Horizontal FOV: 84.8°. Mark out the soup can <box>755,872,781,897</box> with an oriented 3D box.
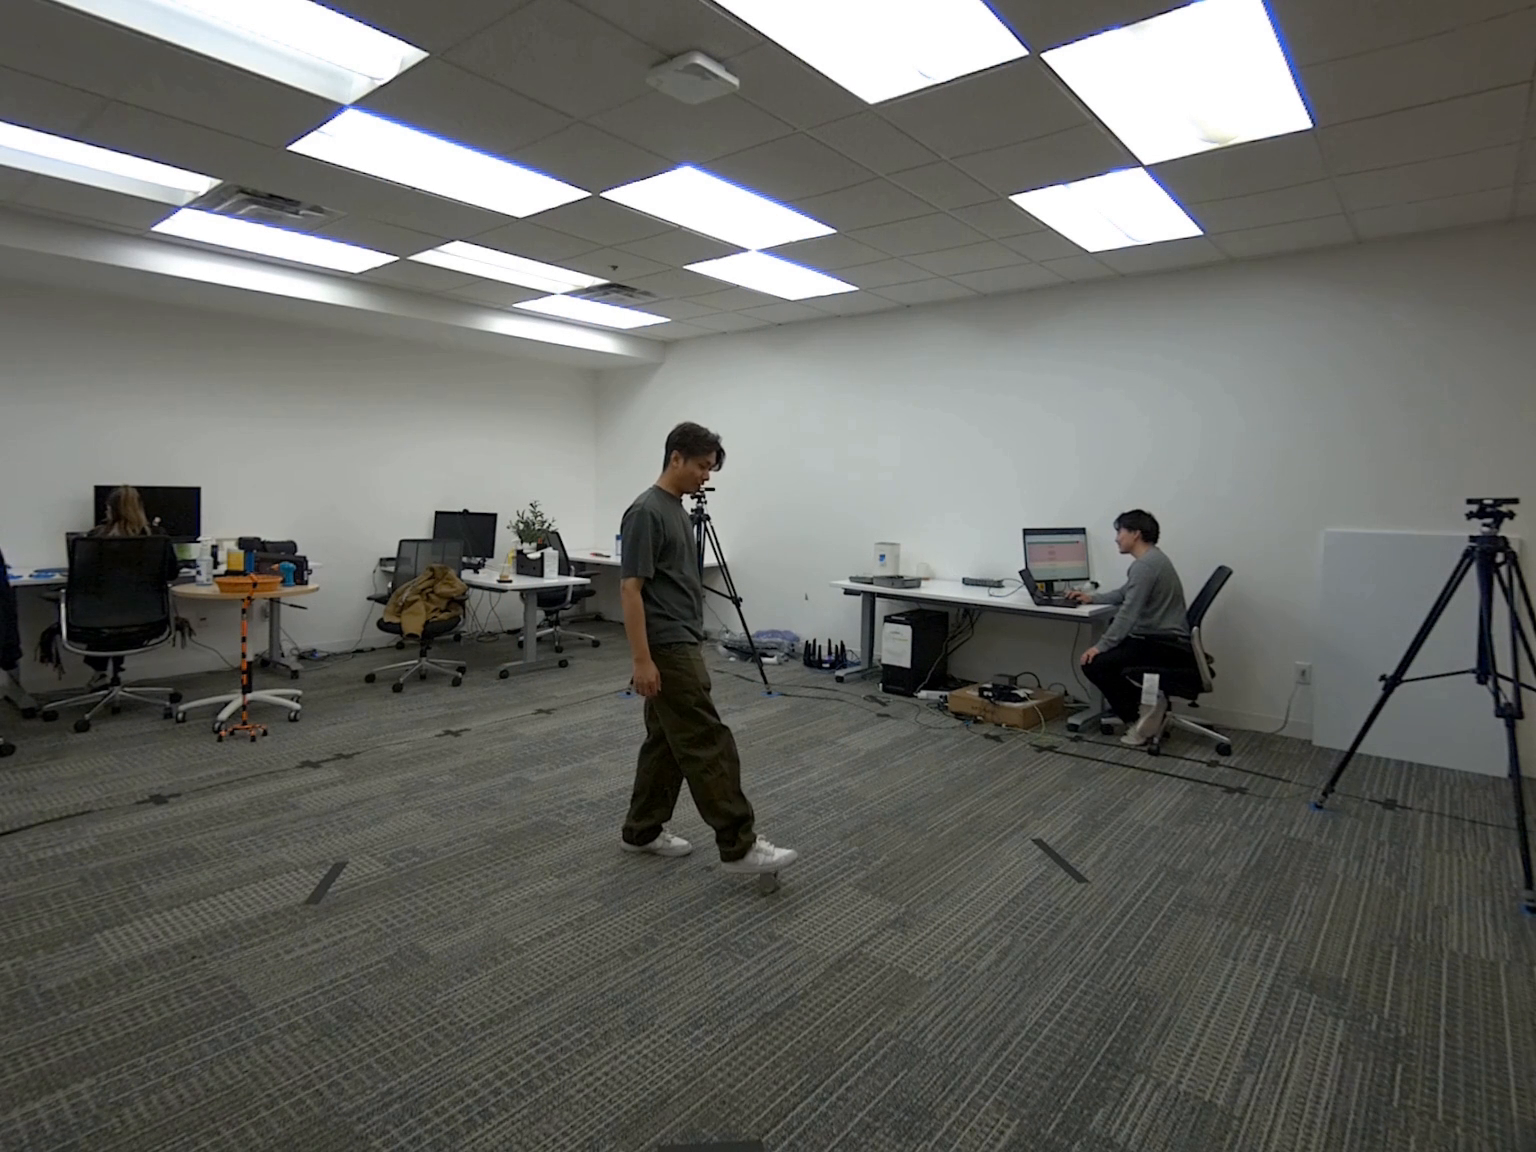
[{"bbox_3d":[-0.003,1.051,2.980,0.068,0.066,0.121,1,12,9],"label":"soup can"}]
